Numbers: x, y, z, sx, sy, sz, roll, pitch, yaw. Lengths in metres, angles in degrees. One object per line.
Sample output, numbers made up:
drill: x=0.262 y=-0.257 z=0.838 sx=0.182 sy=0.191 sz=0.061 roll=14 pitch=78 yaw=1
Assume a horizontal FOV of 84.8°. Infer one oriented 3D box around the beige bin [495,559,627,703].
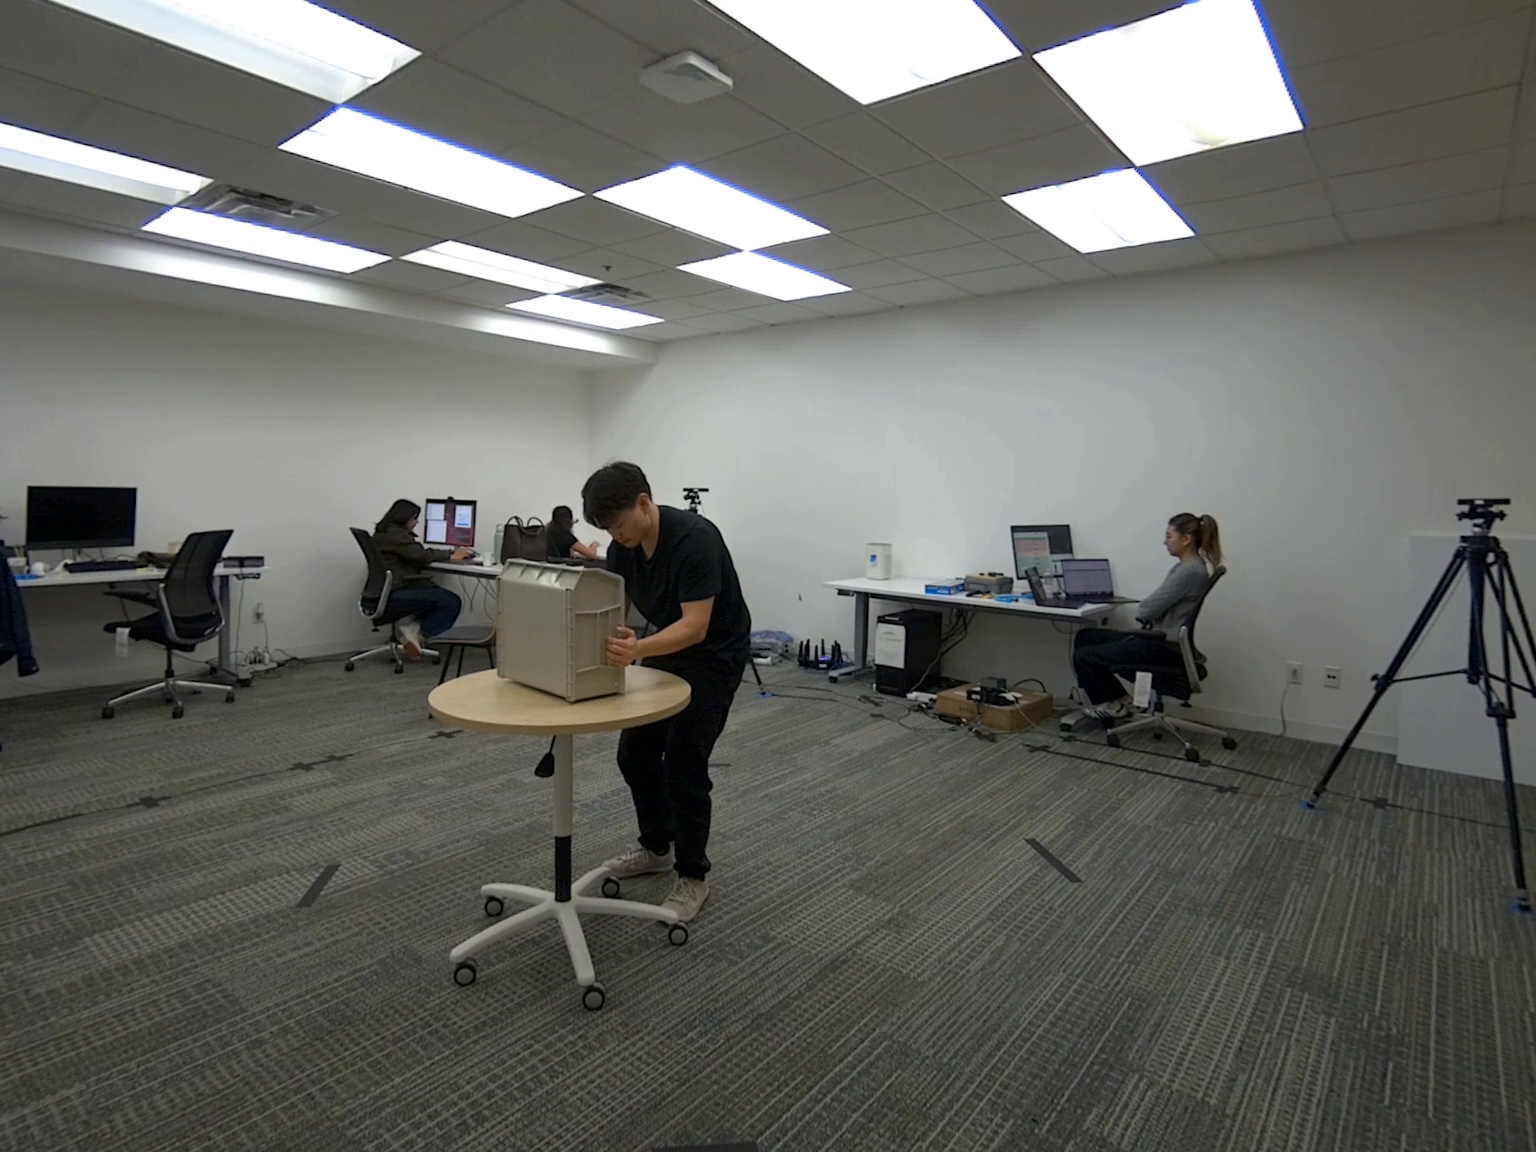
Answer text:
beige bin: x=-0.633 y=0.147 z=2.546 sx=0.184 sy=0.375 sz=0.437 roll=-7 pitch=9 yaw=-44
